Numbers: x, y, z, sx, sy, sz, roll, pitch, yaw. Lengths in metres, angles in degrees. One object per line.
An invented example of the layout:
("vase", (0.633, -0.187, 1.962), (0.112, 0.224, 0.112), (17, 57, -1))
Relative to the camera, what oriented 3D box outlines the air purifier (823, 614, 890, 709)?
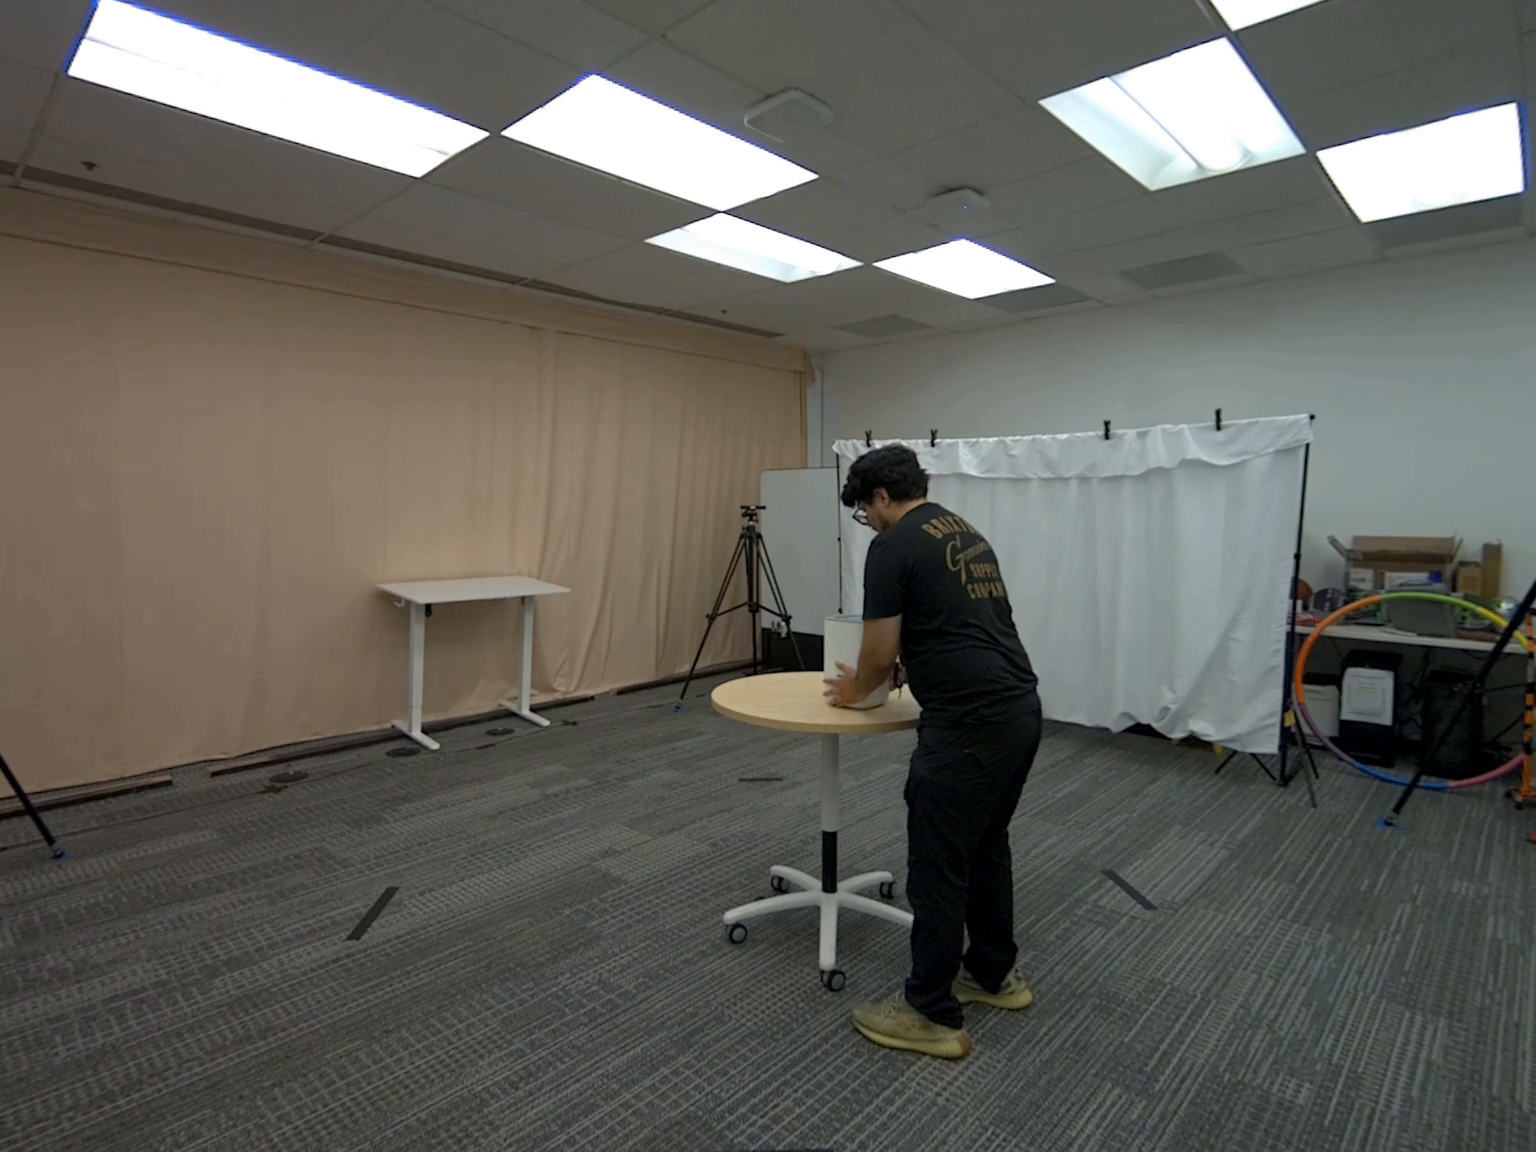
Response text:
("air purifier", (0.279, 0.260, 2.576), (0.176, 0.265, 0.166), (2, 3, 39))
